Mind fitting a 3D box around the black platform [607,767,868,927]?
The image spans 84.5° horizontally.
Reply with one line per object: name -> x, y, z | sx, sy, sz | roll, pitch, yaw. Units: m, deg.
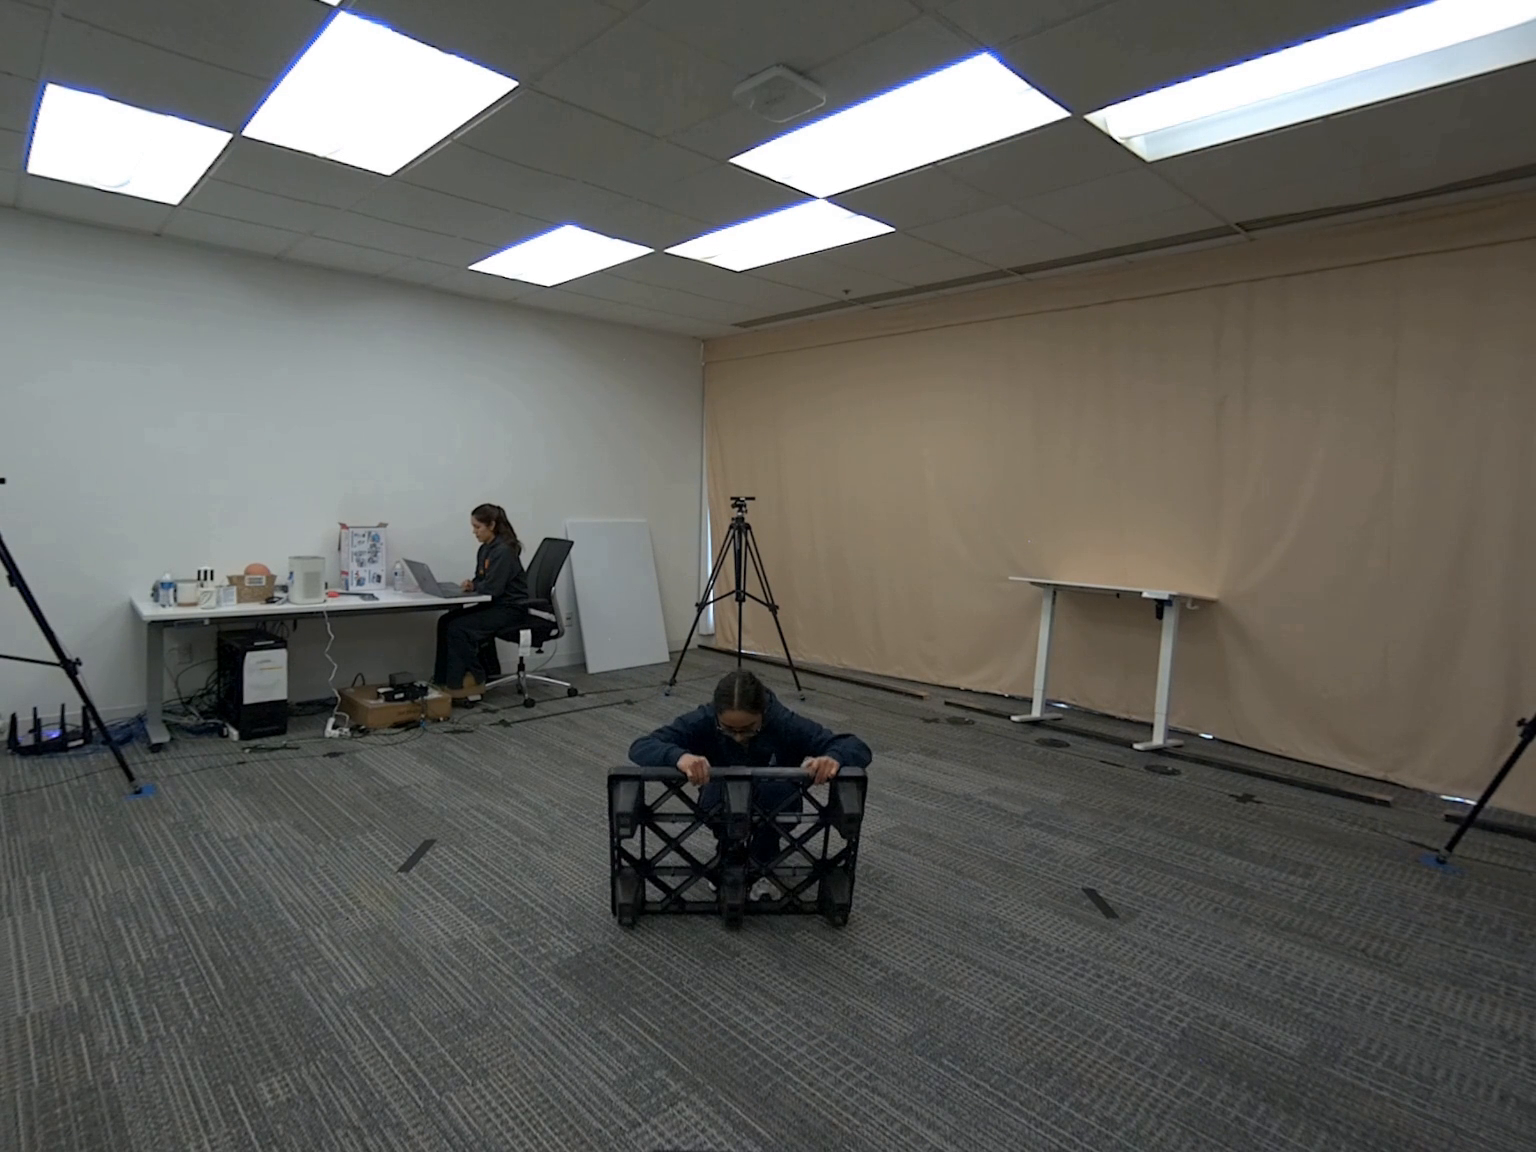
black platform -> -0.110, 0.882, 2.633 | 0.804, 0.596, 0.146 | 1, 23, -3
